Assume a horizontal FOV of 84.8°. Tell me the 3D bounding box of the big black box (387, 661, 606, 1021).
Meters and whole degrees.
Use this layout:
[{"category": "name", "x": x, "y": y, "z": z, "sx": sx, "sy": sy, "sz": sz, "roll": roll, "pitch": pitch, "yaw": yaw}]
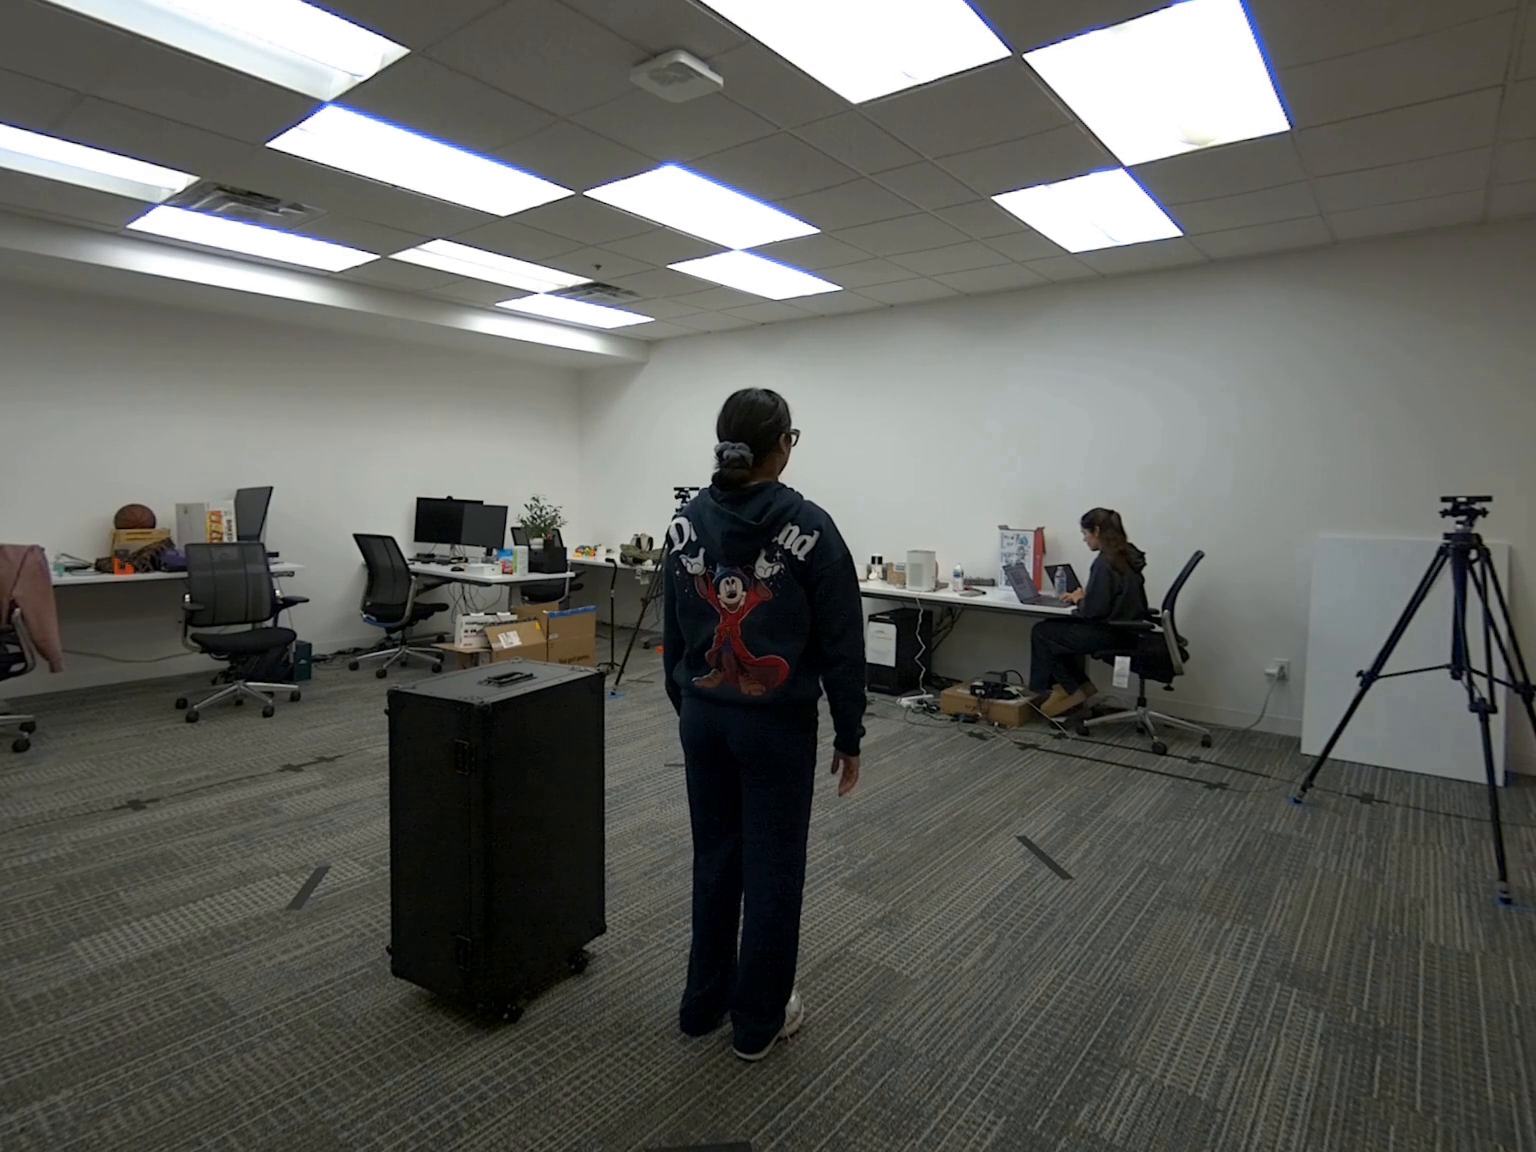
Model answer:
[{"category": "big black box", "x": -0.766, "y": 0.705, "z": 2.386, "sx": 0.407, "sy": 0.859, "sz": 0.508, "roll": 1, "pitch": 3, "yaw": 30}]
